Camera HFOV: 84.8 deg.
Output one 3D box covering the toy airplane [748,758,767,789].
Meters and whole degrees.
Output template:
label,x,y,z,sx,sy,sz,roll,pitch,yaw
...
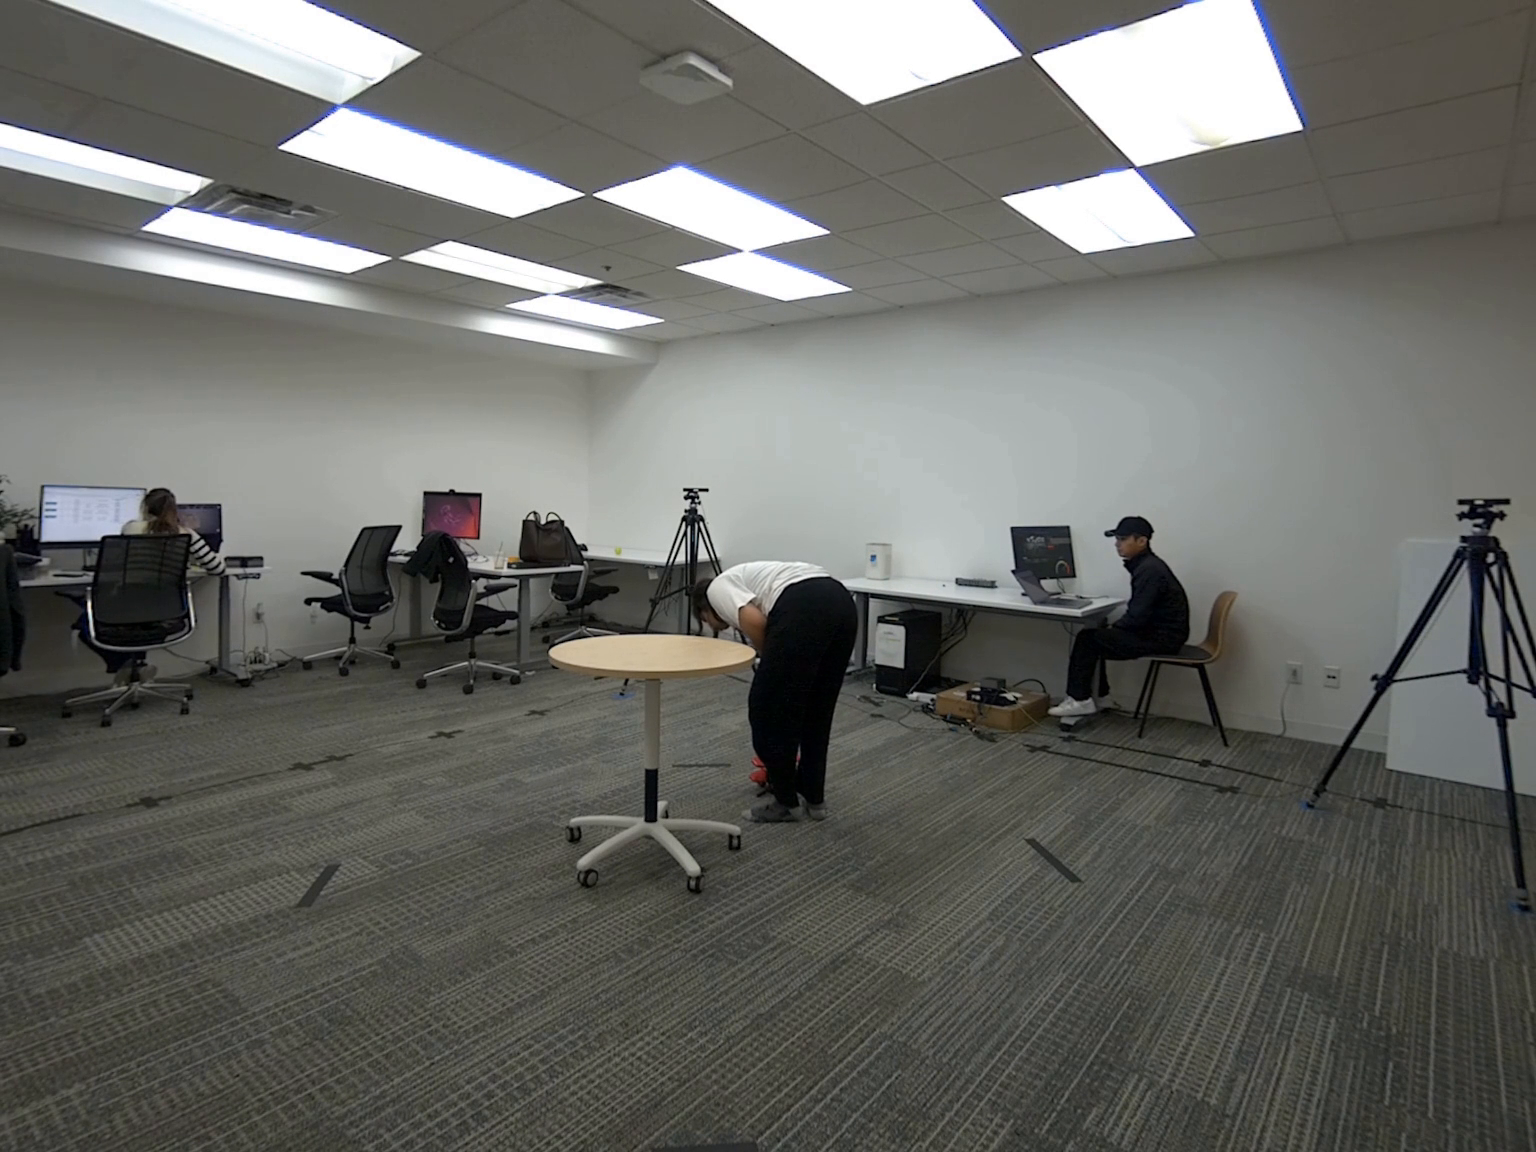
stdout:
label,x,y,z,sx,sy,sz,roll,pitch,yaw
toy airplane,0.057,0.913,3.961,0.267,0.156,0.244,3,4,31
